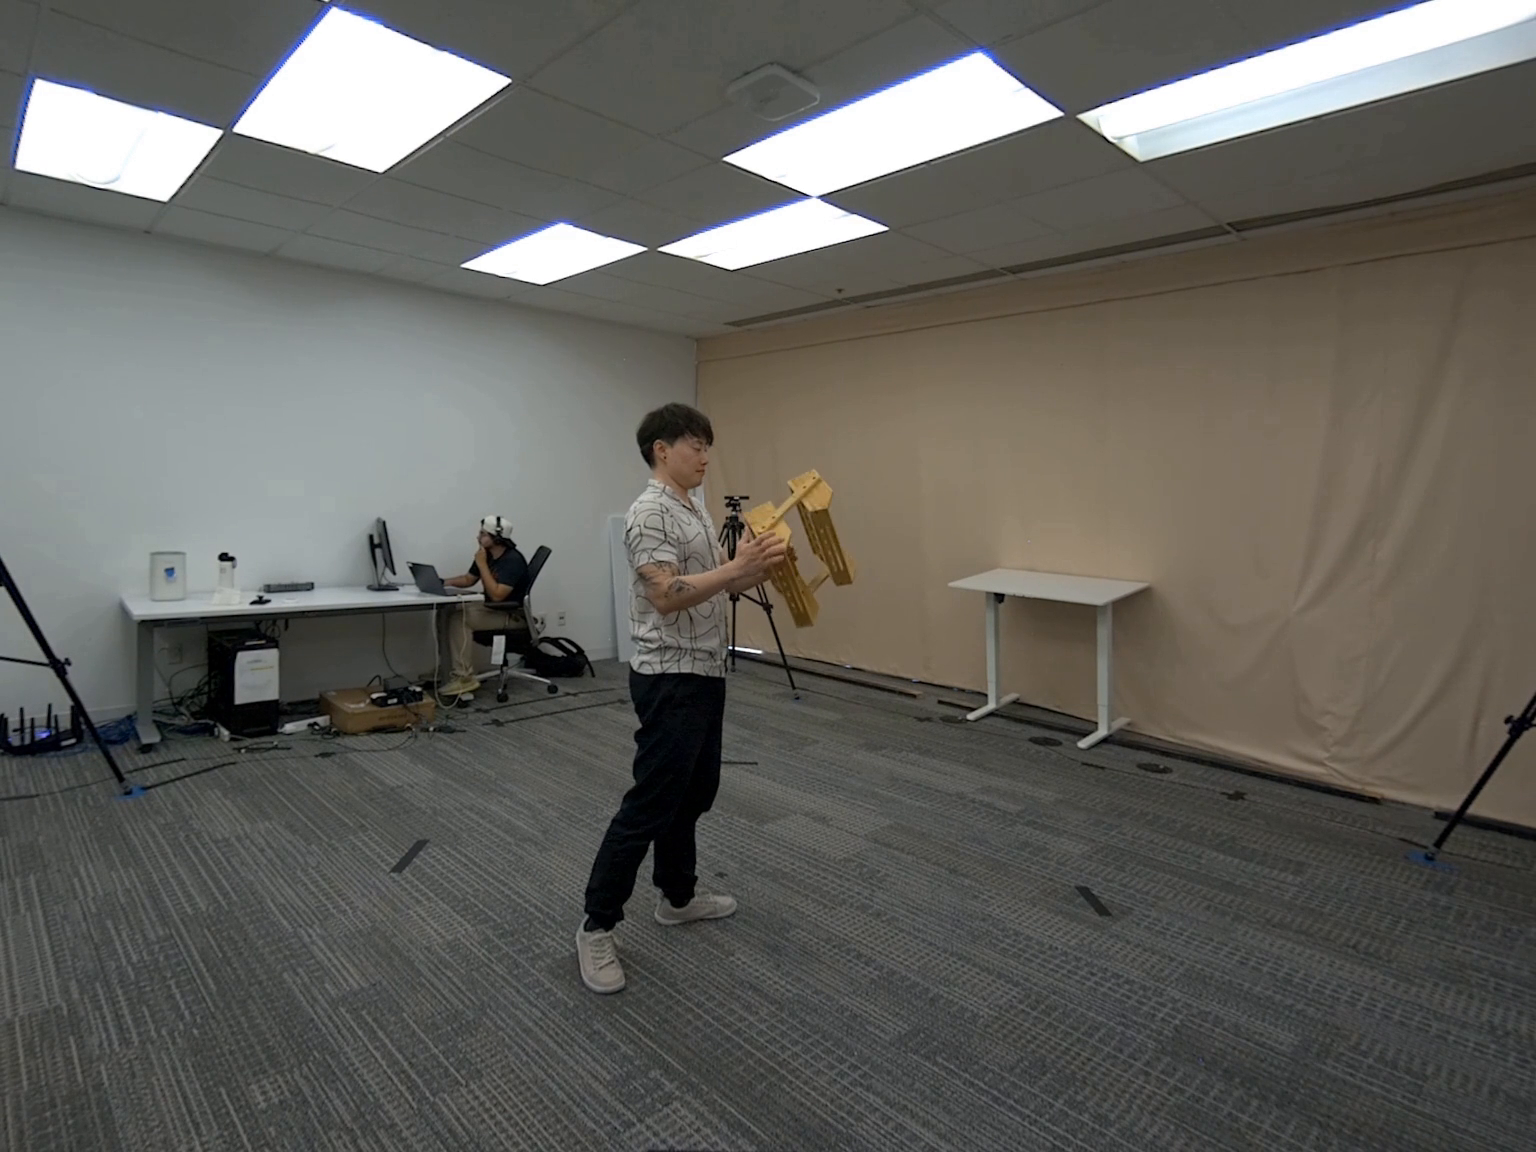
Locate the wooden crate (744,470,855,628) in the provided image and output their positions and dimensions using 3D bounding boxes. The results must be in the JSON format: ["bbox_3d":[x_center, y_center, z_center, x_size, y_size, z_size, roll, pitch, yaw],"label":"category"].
[{"bbox_3d":[0.114,-0.080,2.511,0.273,0.315,0.311,-26,37,-4],"label":"wooden crate"}]
